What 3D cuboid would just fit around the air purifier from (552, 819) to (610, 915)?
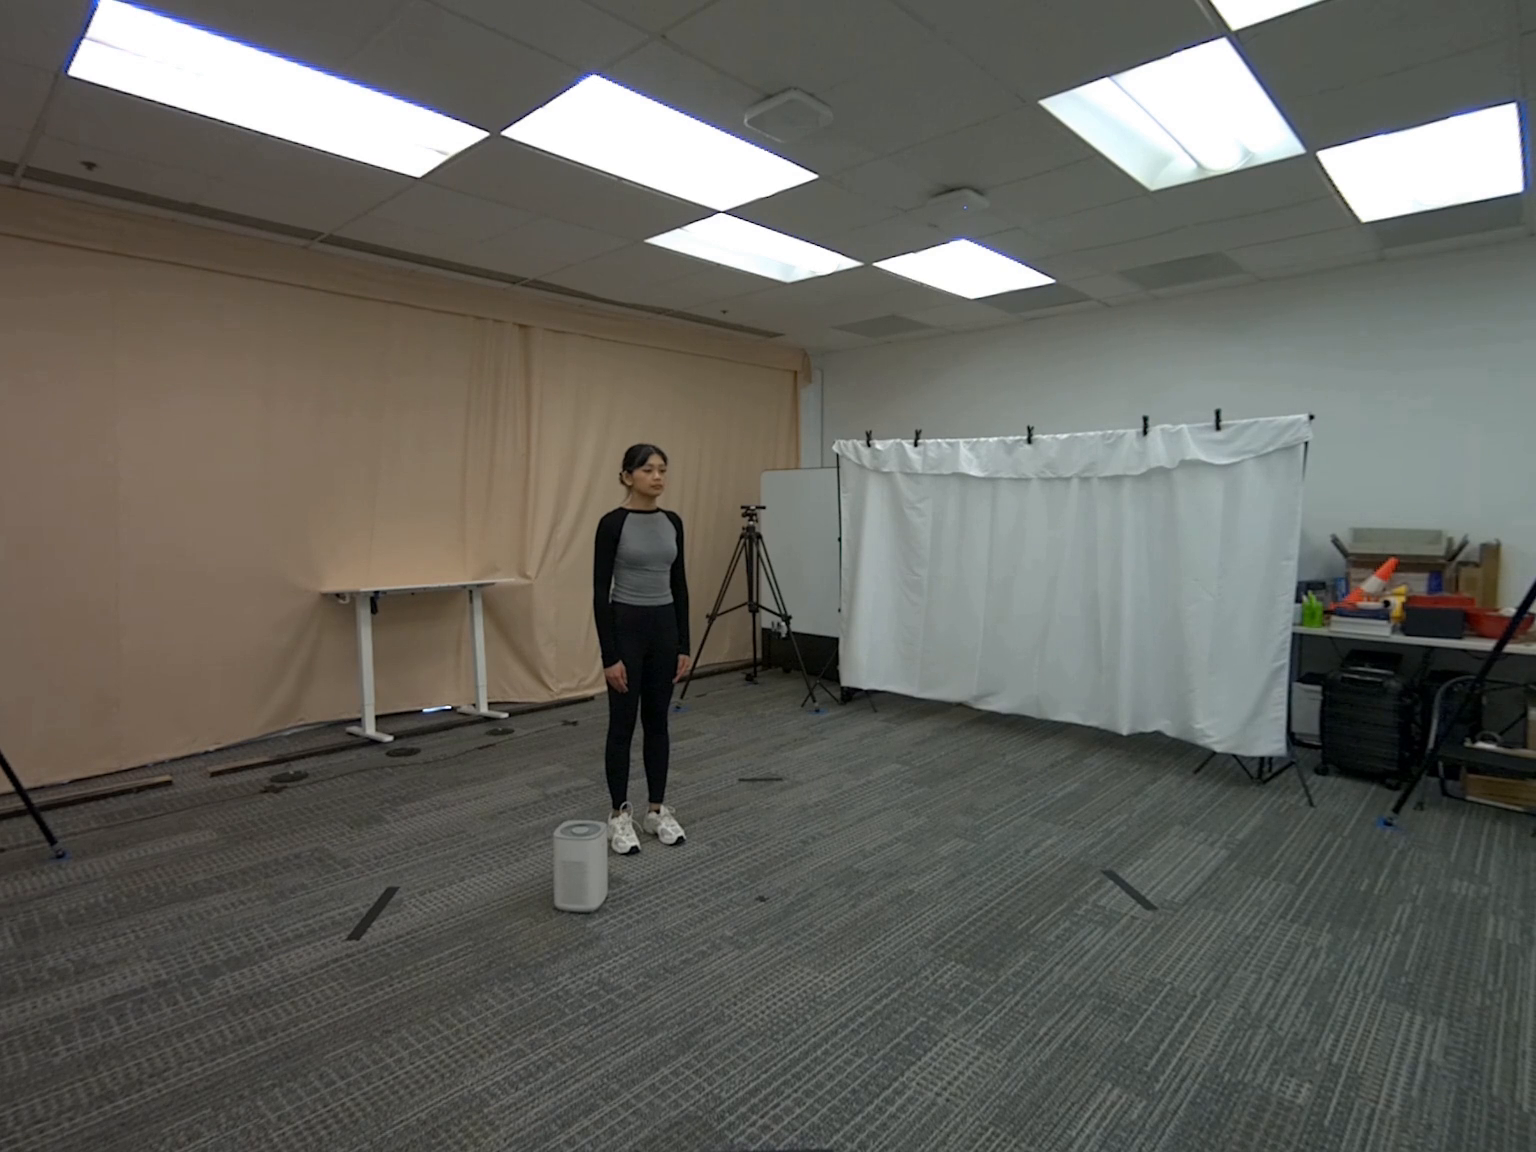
[{"bbox_3d":[-0.656,1.011,2.953,0.173,0.265,0.170,1,3,7],"label":"air purifier"}]
